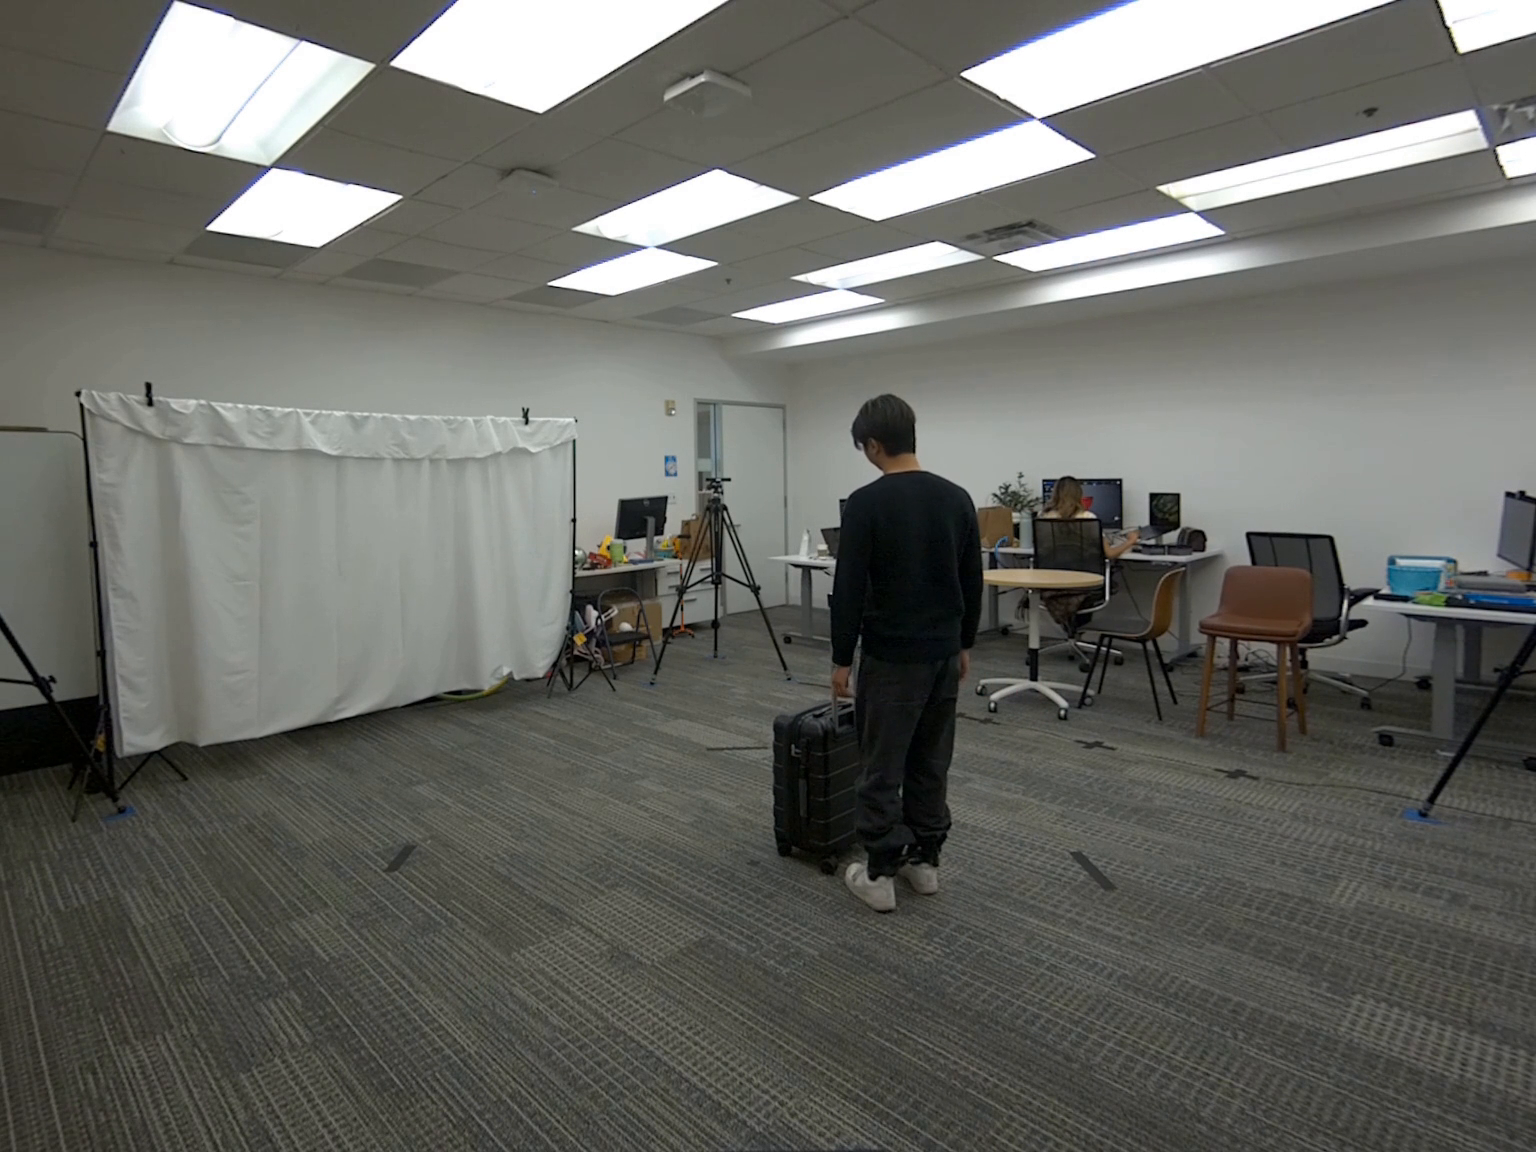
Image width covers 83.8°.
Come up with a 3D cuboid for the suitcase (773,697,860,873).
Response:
[{"bbox_3d":[0.201,0.553,3.184,0.264,0.977,0.374,-2,3,45],"label":"suitcase"}]
